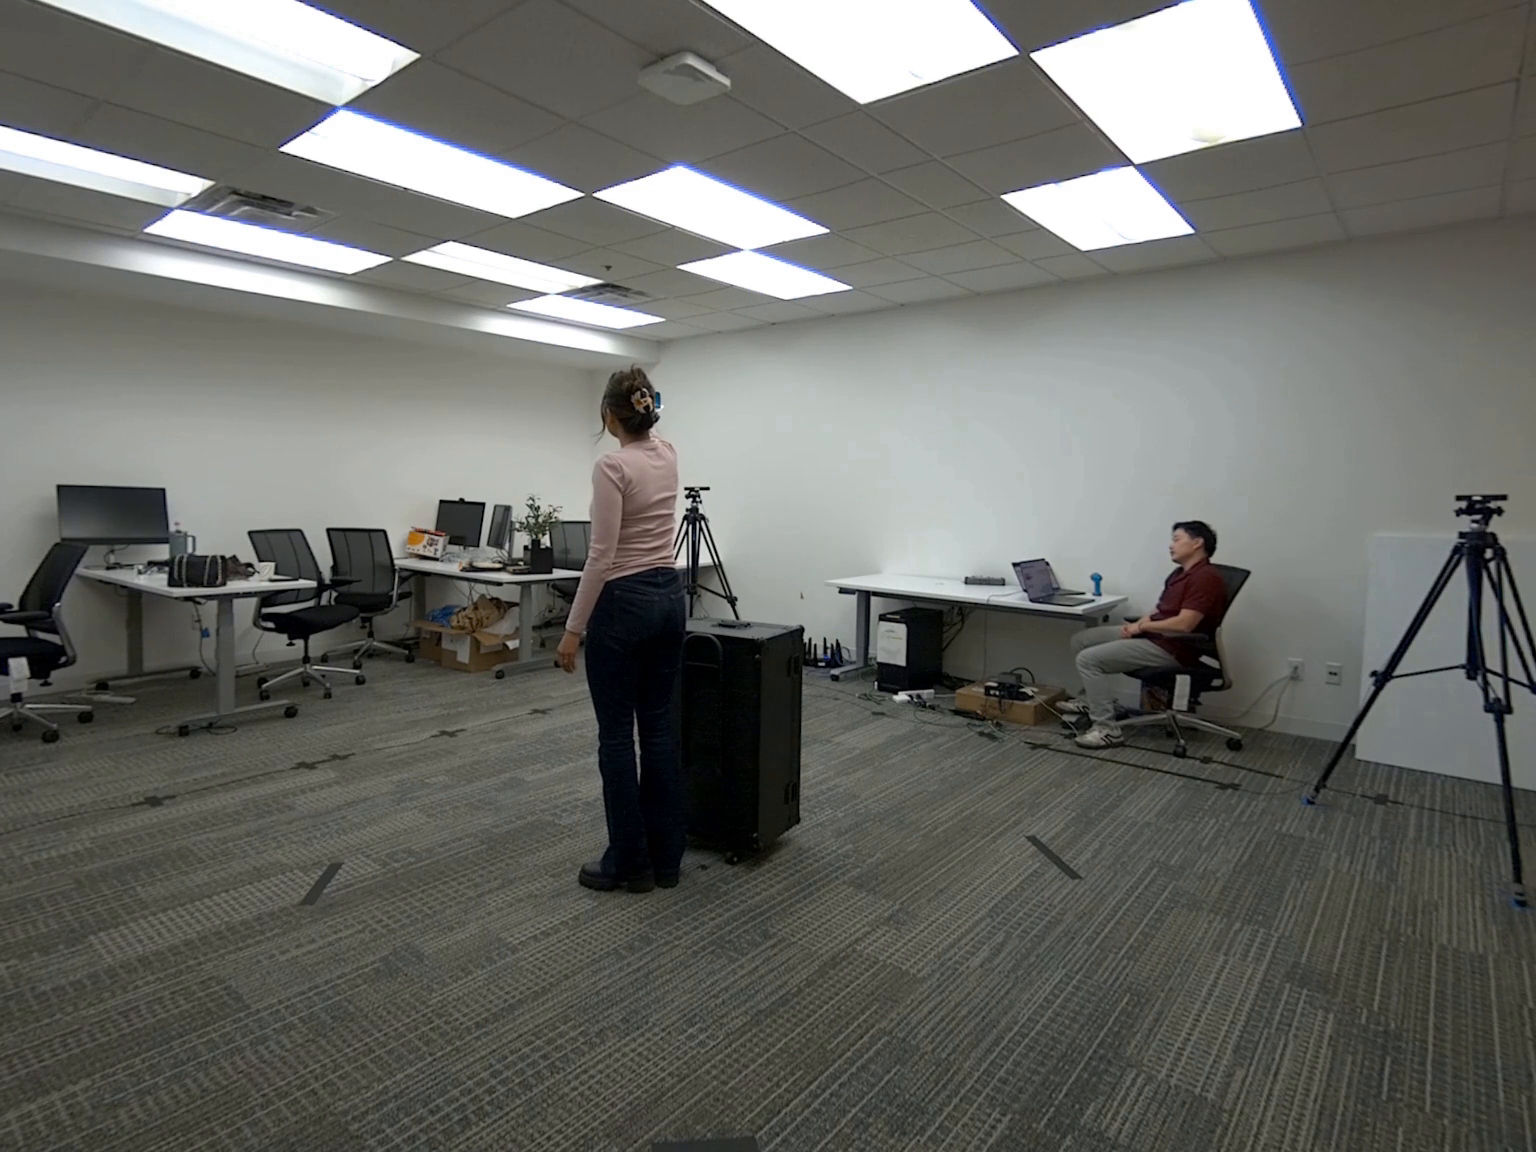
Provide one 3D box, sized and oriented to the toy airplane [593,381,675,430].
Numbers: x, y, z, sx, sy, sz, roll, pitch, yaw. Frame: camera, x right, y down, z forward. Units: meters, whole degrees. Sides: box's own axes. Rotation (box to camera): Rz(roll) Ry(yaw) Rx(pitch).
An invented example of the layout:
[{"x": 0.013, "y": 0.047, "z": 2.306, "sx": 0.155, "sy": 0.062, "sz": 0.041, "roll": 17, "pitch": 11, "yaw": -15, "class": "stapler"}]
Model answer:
[{"x": -0.589, "y": -0.732, "z": 3.670, "sx": 0.256, "sy": 0.152, "sz": 0.261, "roll": -19, "pitch": 26, "yaw": -20, "class": "toy airplane"}]
